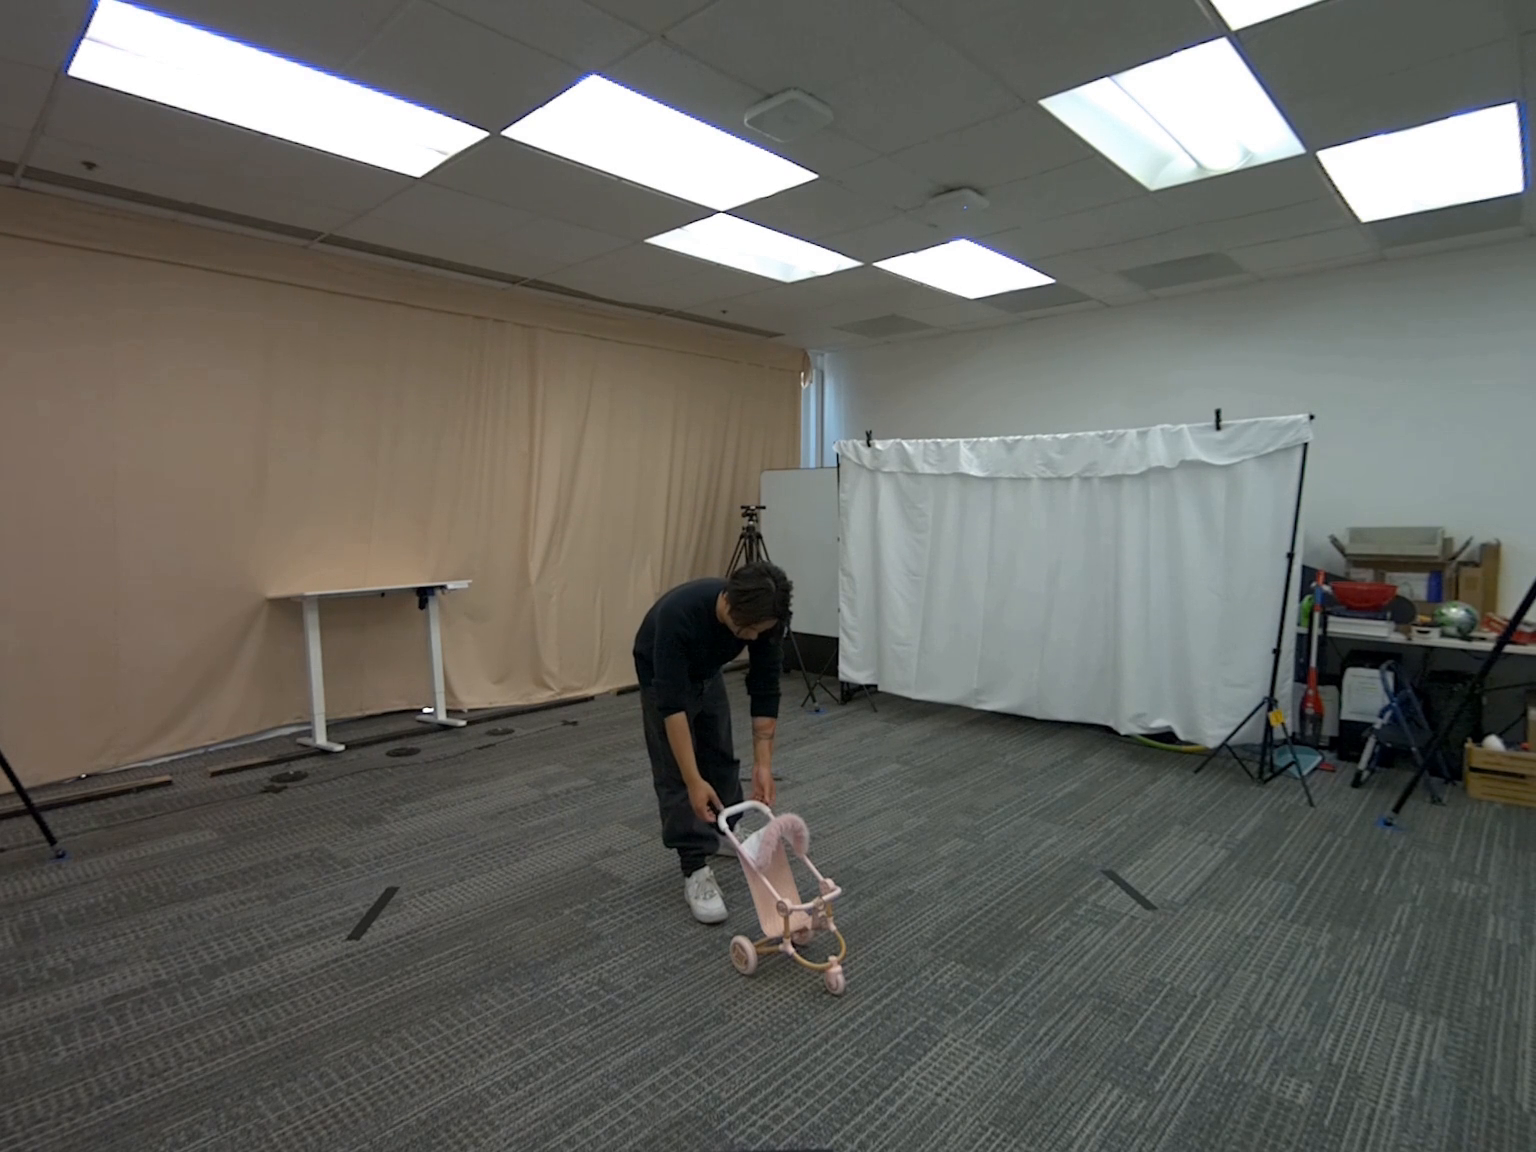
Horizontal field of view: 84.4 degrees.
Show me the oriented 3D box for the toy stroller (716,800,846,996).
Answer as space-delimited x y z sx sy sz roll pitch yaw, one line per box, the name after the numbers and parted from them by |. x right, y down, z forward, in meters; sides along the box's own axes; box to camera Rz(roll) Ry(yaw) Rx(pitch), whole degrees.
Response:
0.062 0.955 2.532 0.273 0.539 0.349 -3 -11 -39 | toy stroller
